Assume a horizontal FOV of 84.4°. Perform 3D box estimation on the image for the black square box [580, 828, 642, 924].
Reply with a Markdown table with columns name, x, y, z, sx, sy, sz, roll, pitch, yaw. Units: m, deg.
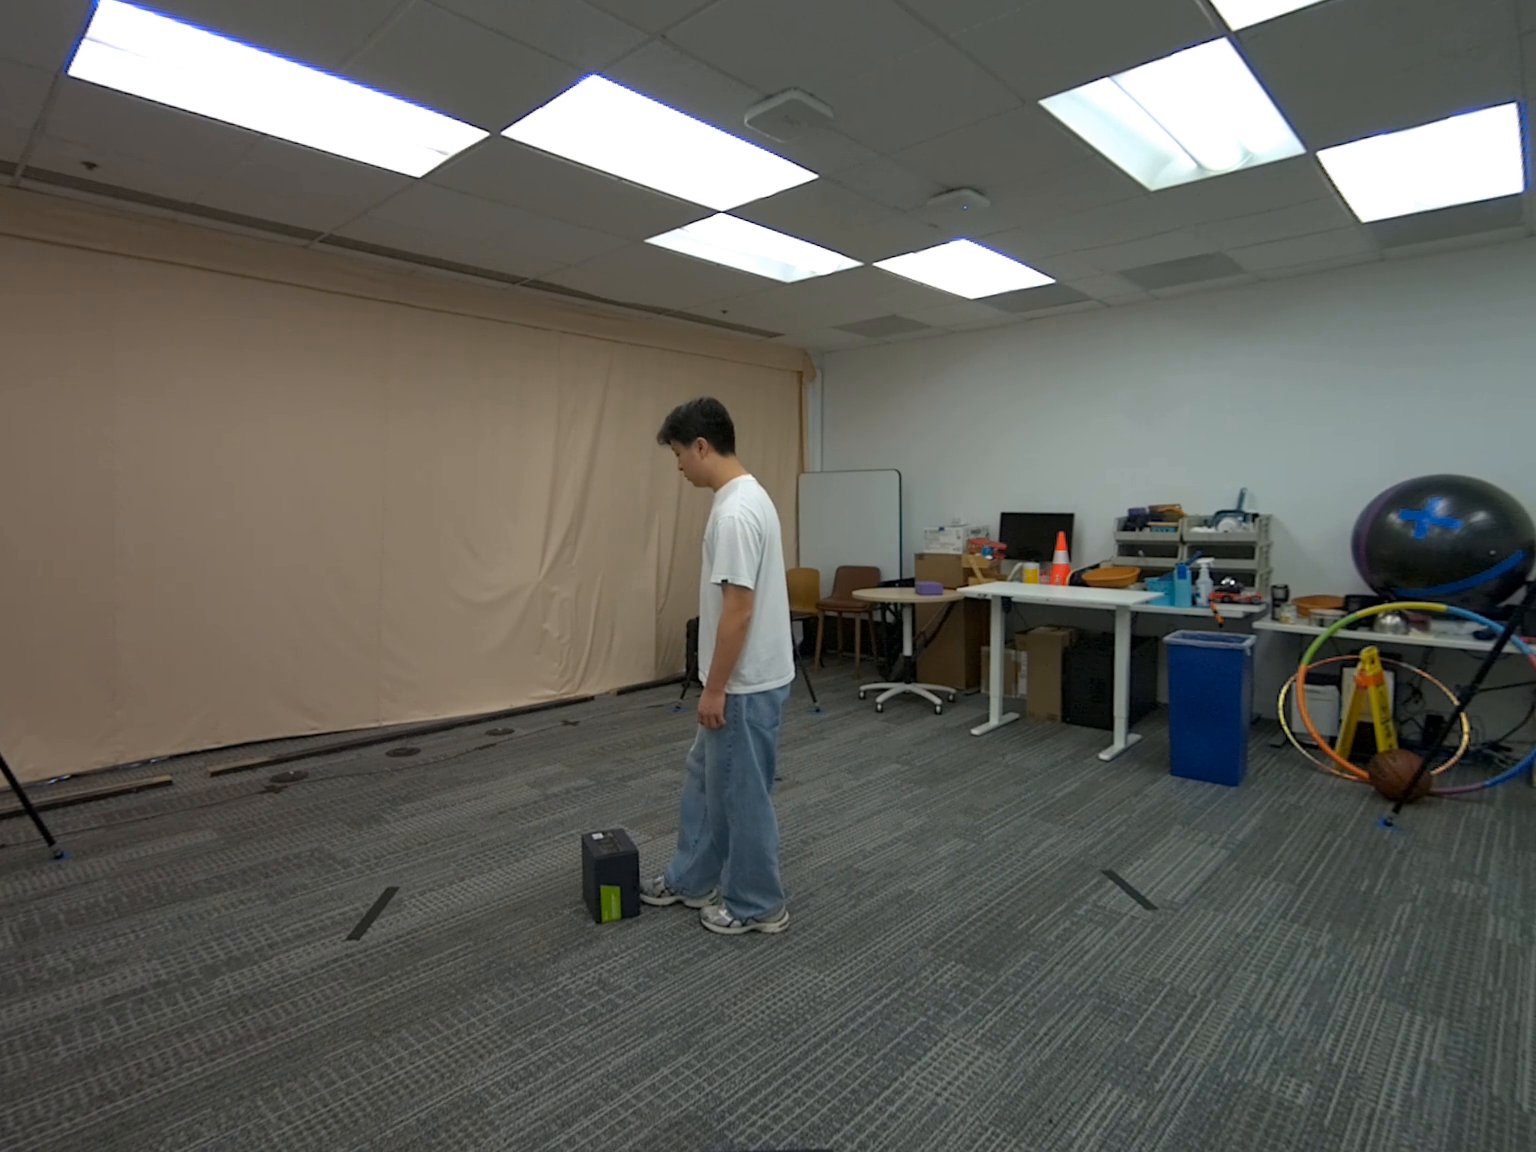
| name | x | y | z | sx | sy | sz | roll | pitch | yaw |
| --- | --- | --- | --- | --- | --- | --- | --- | --- | --- |
| black square box | -0.542 | 1.036 | 2.932 | 0.152 | 0.227 | 0.222 | -2 | 4 | -24 |
